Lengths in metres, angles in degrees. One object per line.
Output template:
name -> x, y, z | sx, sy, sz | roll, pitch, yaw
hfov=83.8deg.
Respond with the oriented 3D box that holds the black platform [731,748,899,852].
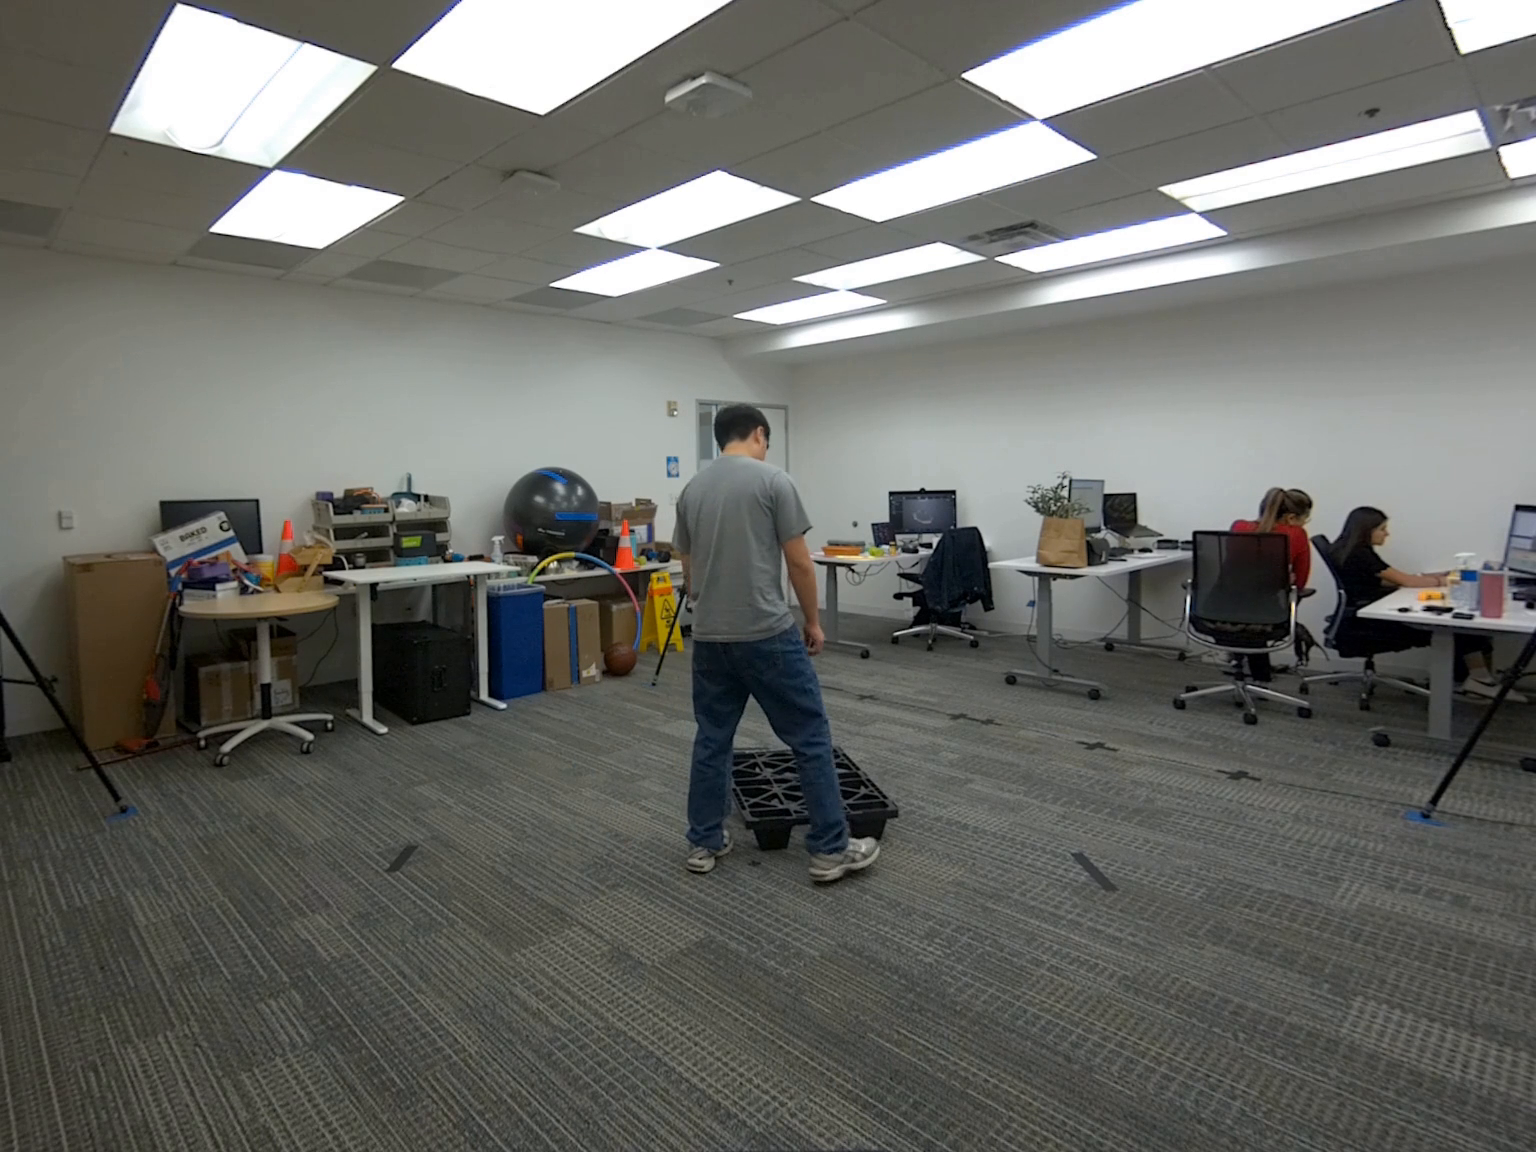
black platform -> 0.132, 0.917, 3.605 | 0.599, 0.143, 0.817 | -1, 6, -11
